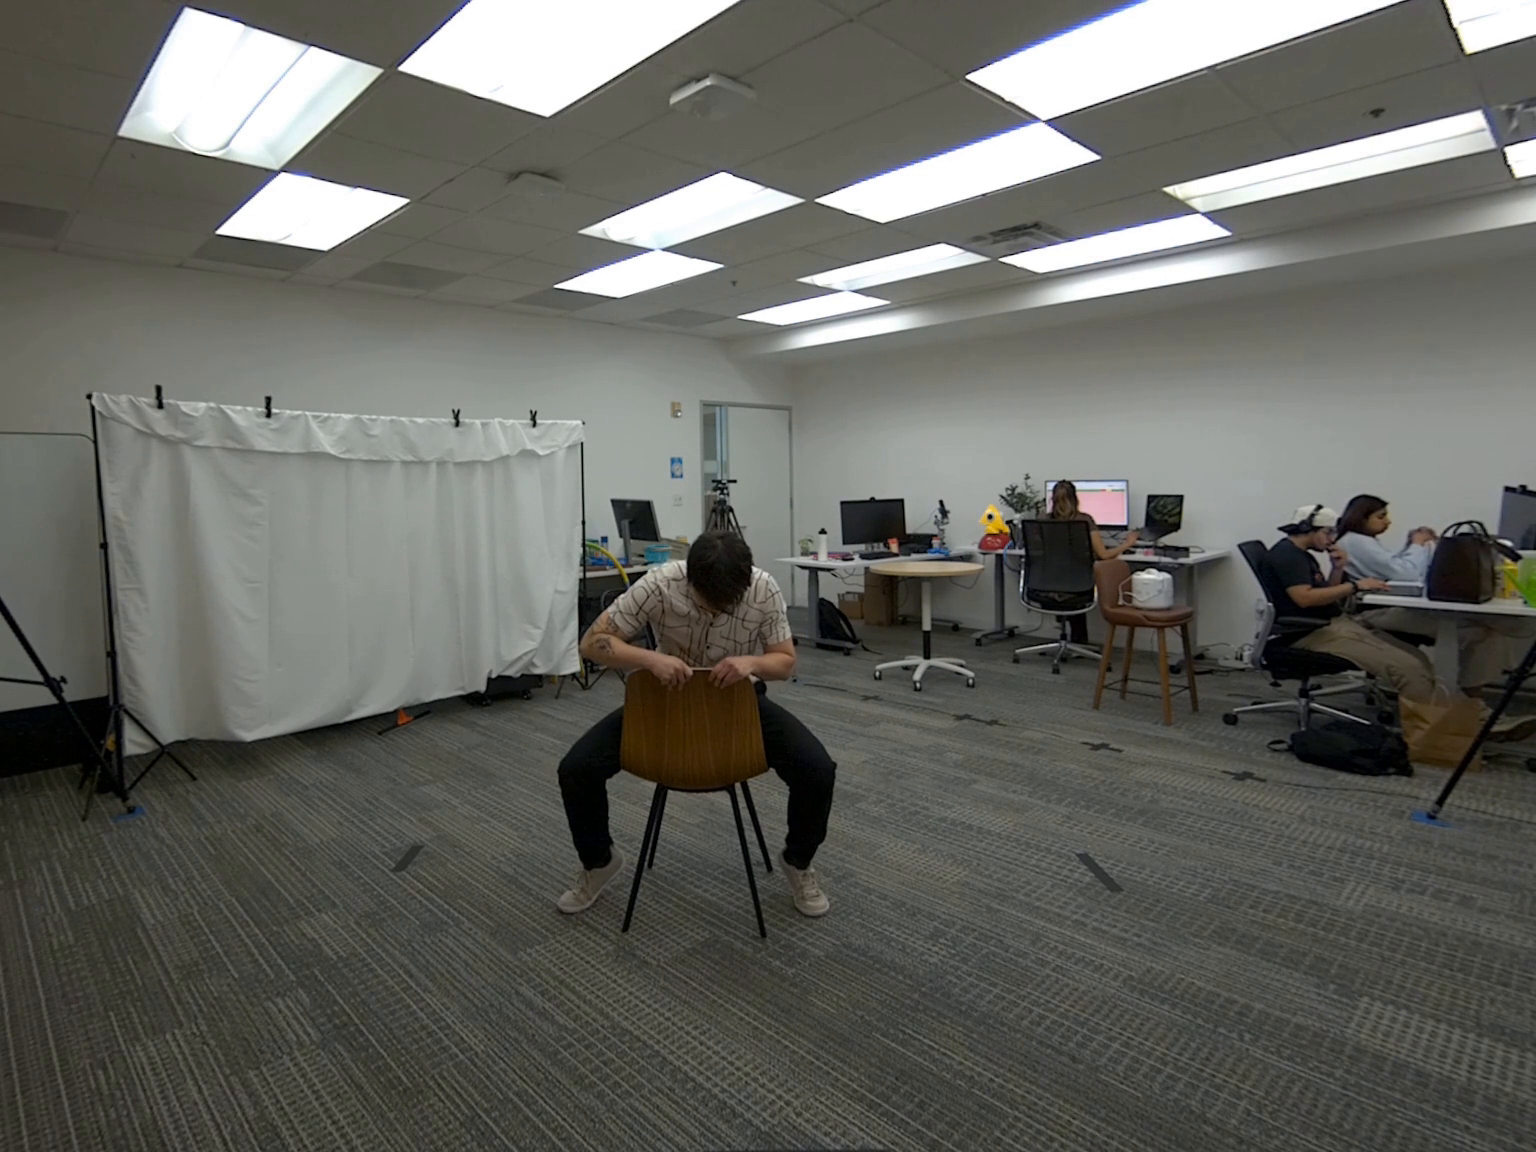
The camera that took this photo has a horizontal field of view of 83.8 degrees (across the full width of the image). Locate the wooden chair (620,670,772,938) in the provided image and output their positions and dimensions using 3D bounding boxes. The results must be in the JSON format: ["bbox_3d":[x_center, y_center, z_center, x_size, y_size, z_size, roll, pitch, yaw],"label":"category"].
[{"bbox_3d":[-0.224,0.662,2.830,0.480,0.870,0.525,0,9,4],"label":"wooden chair"}]
